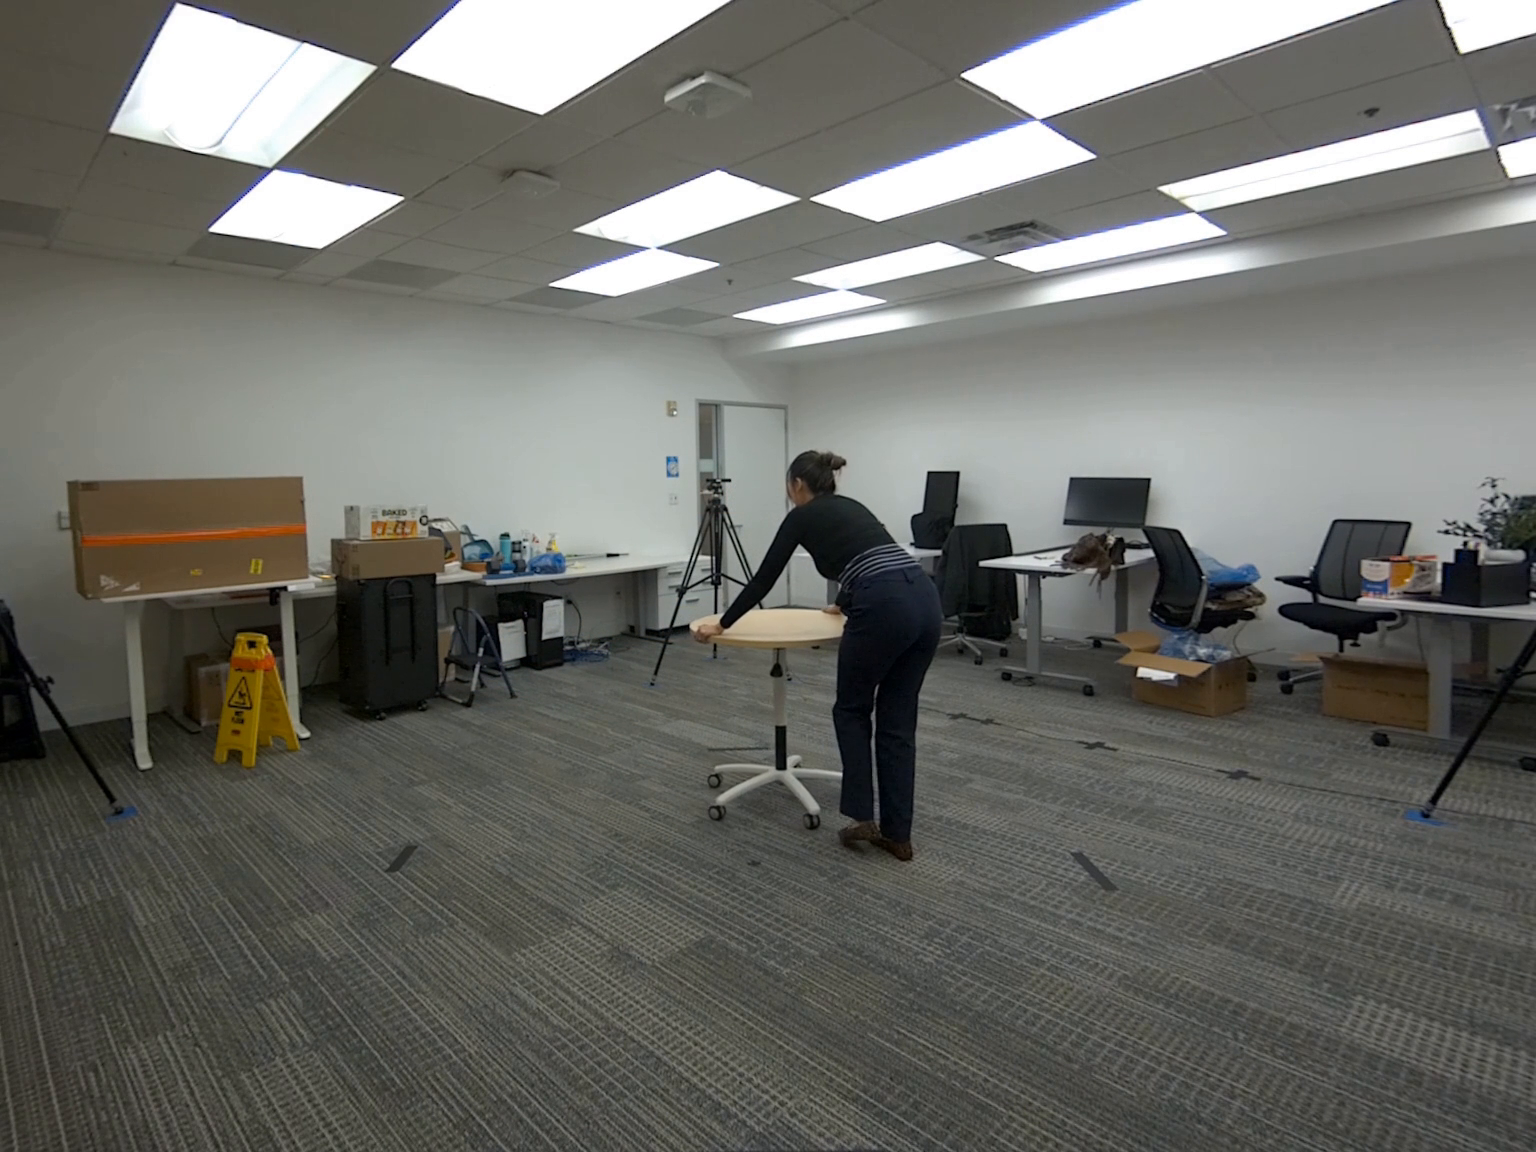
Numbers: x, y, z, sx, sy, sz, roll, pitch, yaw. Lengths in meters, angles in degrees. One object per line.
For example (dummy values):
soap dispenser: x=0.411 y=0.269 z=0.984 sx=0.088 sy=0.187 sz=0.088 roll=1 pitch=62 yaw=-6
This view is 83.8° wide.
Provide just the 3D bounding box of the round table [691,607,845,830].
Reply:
round table: x=0.043 y=0.592 z=3.690 sx=0.763 sy=0.791 sz=0.768 roll=-1 pitch=5 yaw=-2
